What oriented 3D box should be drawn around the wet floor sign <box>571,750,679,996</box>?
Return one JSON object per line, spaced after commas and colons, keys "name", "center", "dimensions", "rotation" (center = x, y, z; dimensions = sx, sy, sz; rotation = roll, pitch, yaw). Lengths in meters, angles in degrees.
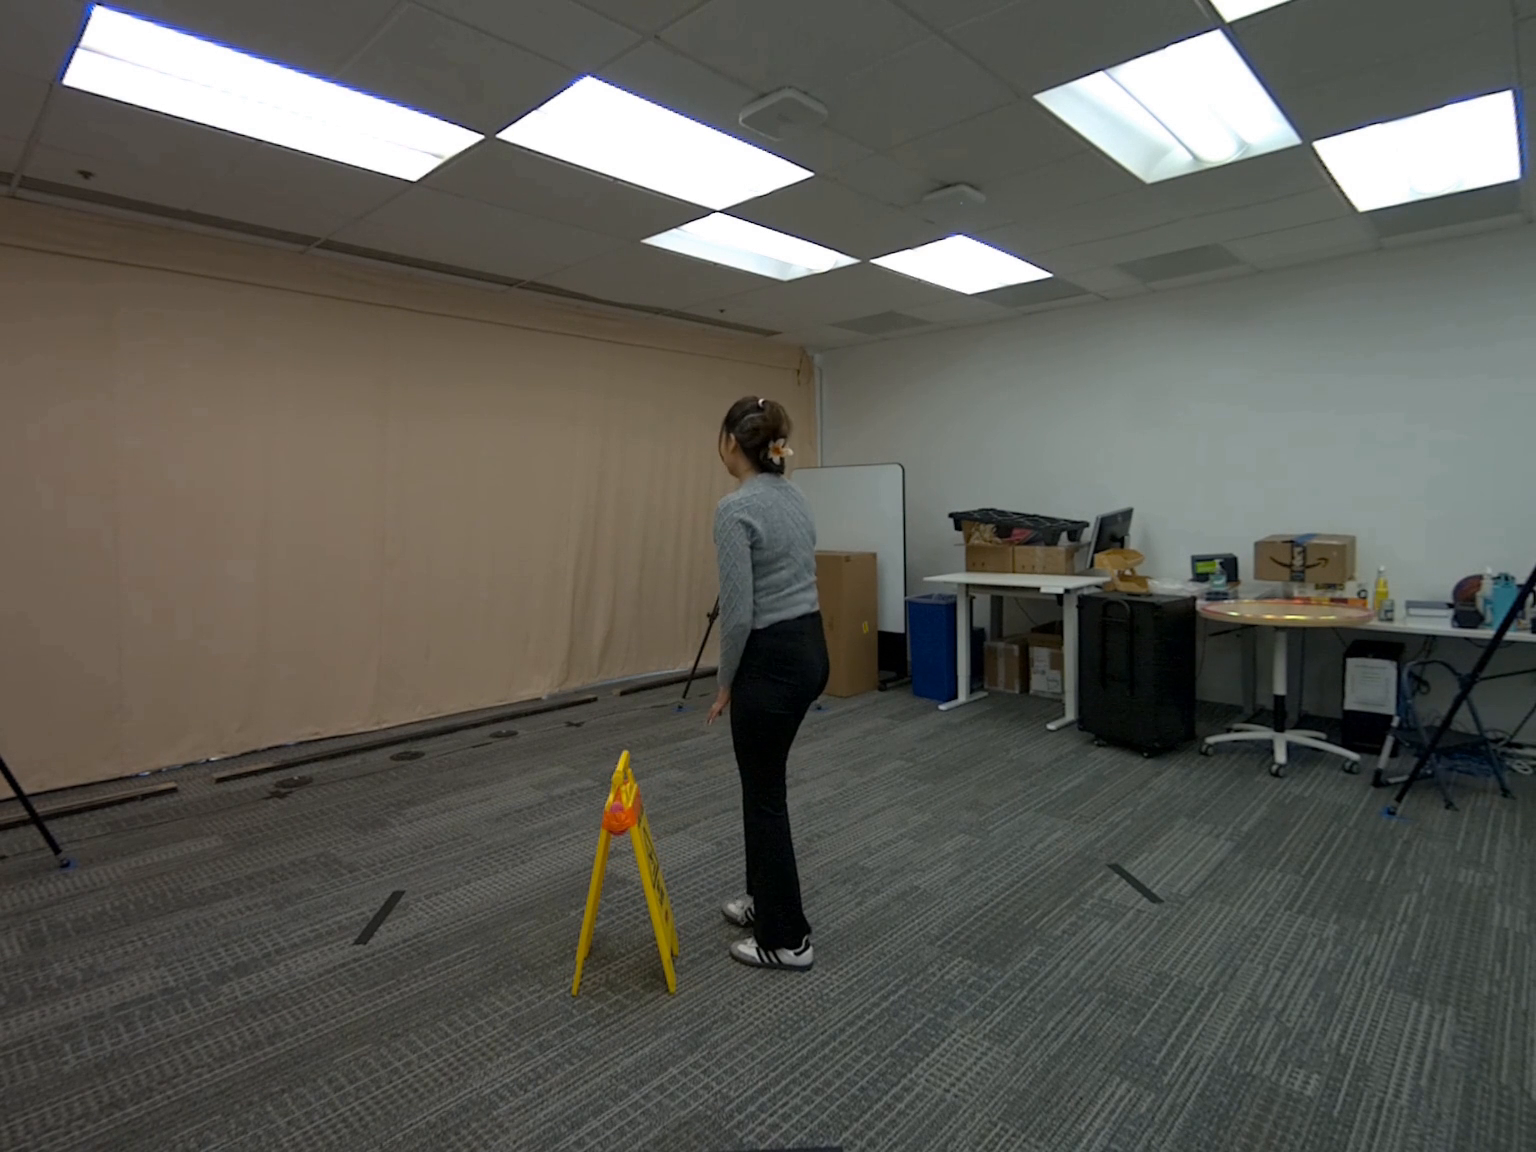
{"name": "wet floor sign", "center": [-0.427, 0.865, 2.526], "dimensions": [0.289, 0.645, 0.283], "rotation": [-2, 1, -2]}
